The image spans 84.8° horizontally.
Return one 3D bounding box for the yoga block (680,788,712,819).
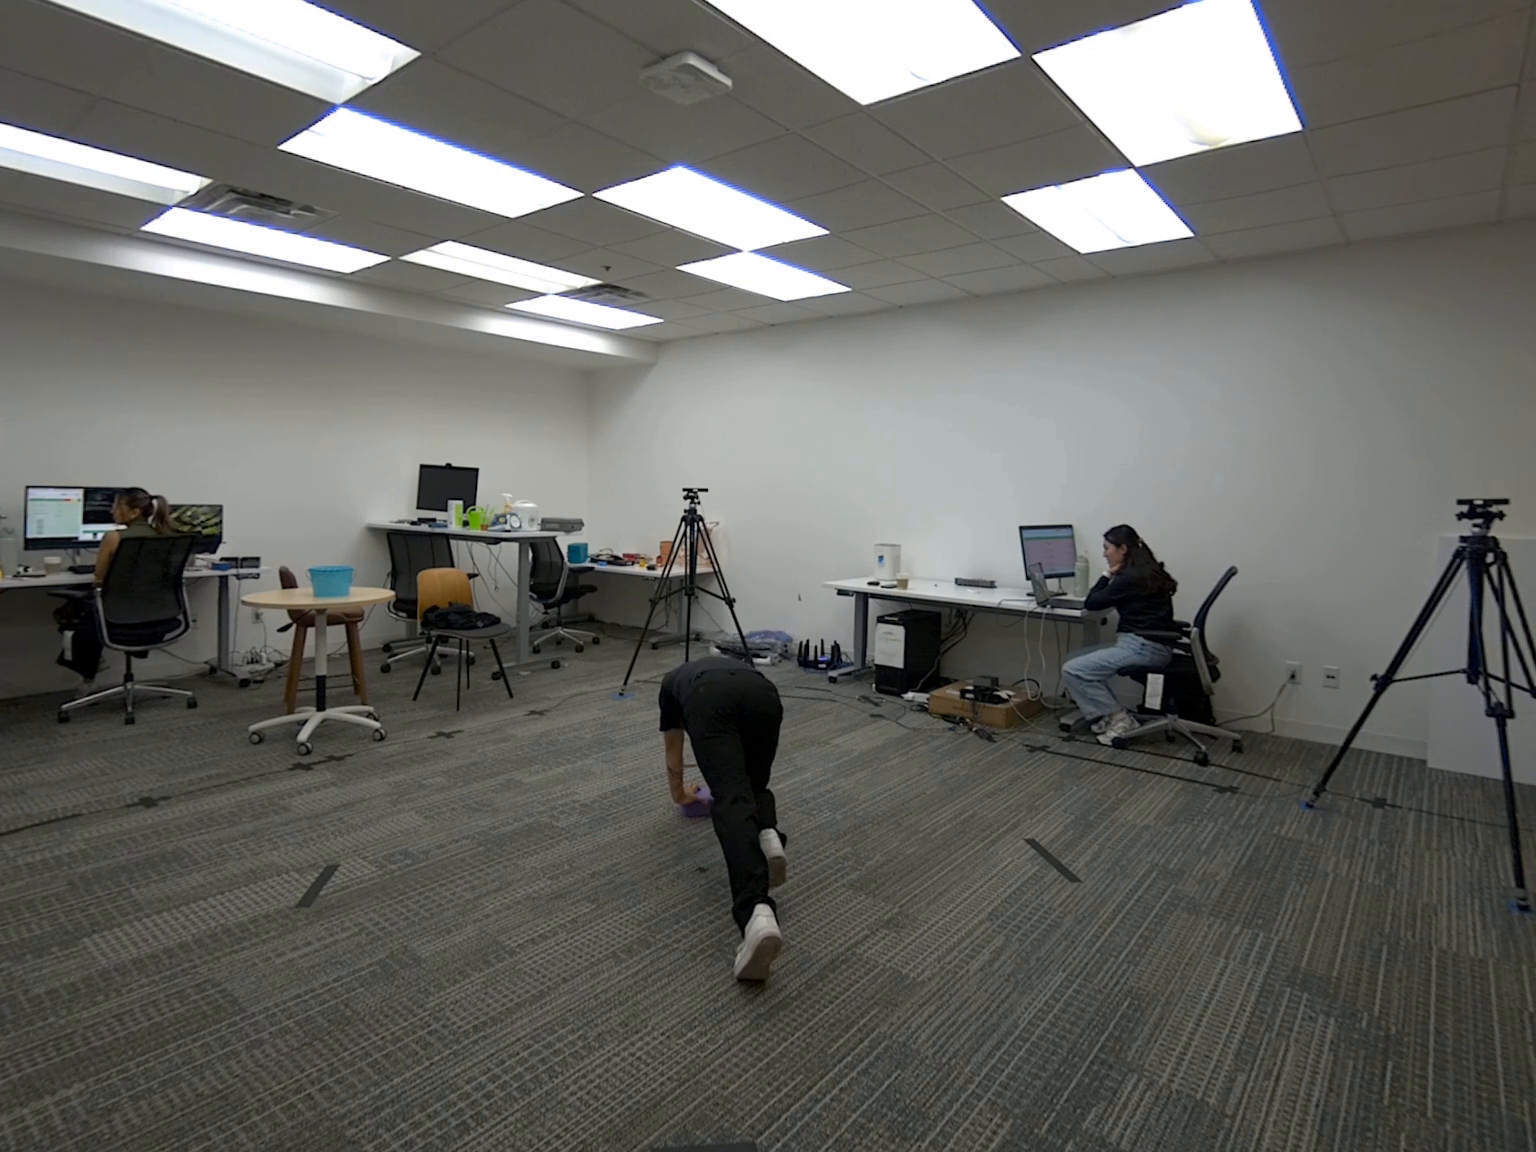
[{"bbox_3d":[-0.269,0.974,3.688,0.227,0.076,0.151,-2,6,-12],"label":"yoga block"}]
